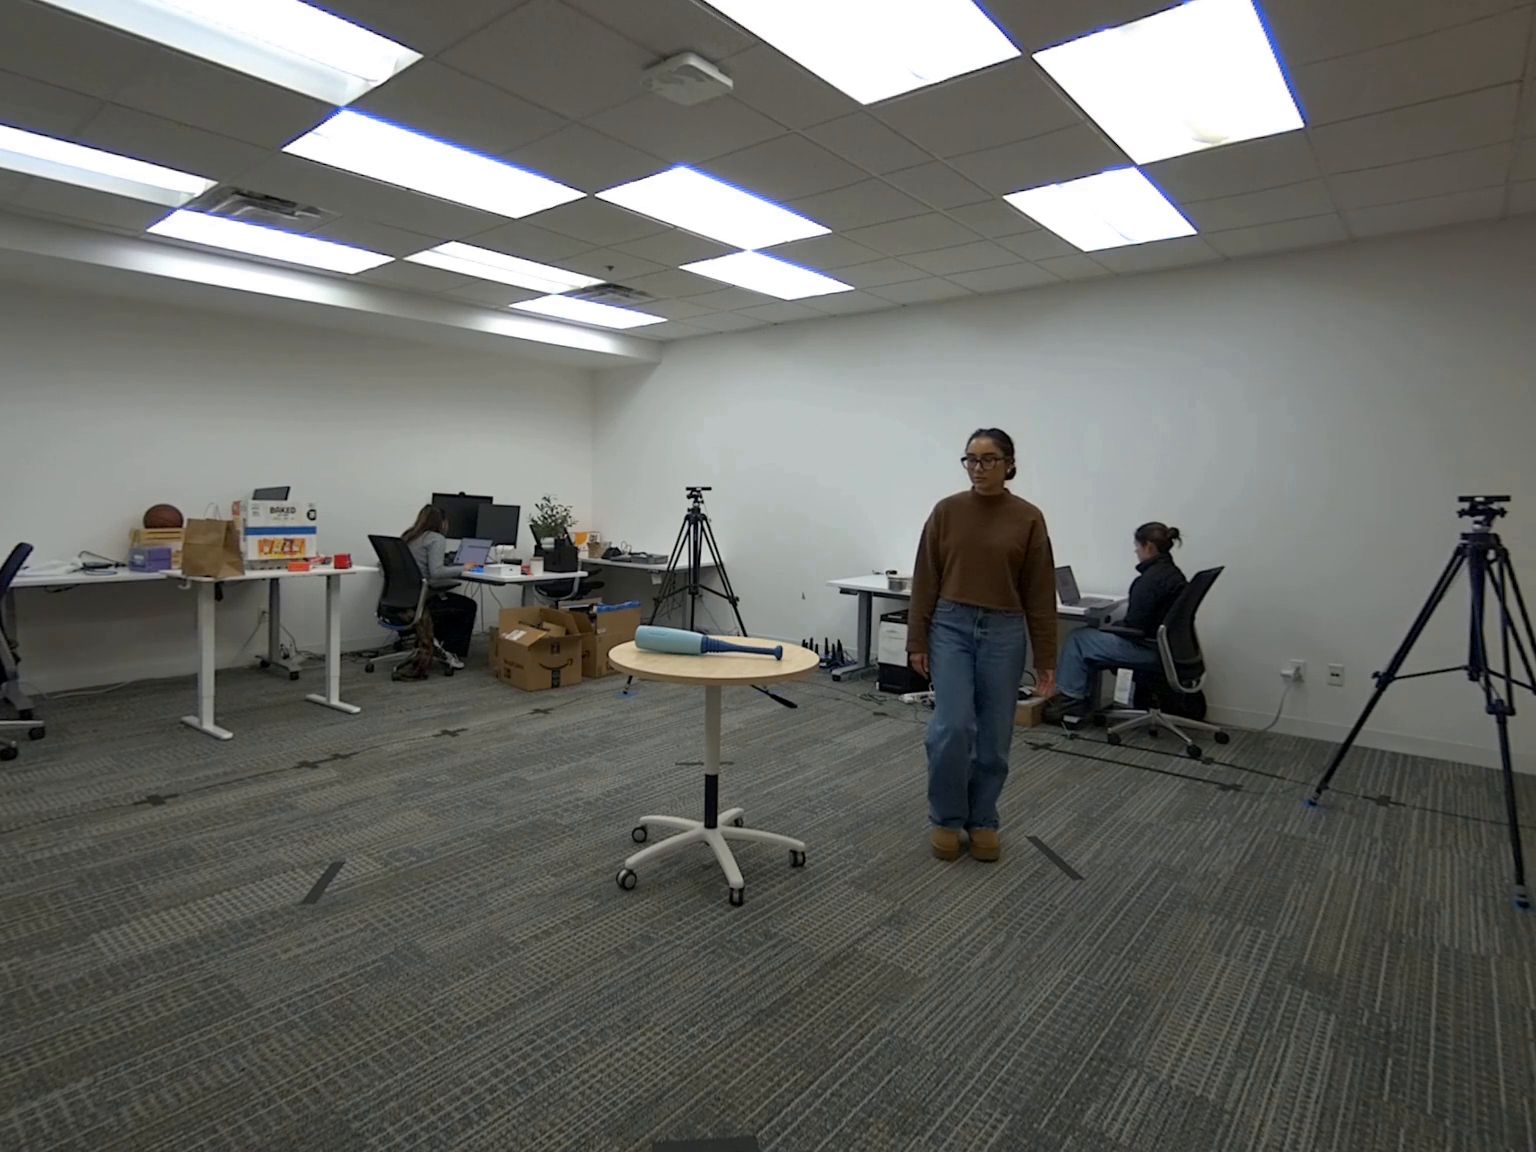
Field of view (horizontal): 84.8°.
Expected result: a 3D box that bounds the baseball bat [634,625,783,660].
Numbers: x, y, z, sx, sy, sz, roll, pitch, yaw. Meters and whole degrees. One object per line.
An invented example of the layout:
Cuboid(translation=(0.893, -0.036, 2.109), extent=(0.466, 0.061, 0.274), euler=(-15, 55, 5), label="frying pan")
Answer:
Cuboid(translation=(-0.217, 0.248, 3.083), extent=(0.549, 0.089, 0.088), euler=(5, 5, 9), label="baseball bat")
